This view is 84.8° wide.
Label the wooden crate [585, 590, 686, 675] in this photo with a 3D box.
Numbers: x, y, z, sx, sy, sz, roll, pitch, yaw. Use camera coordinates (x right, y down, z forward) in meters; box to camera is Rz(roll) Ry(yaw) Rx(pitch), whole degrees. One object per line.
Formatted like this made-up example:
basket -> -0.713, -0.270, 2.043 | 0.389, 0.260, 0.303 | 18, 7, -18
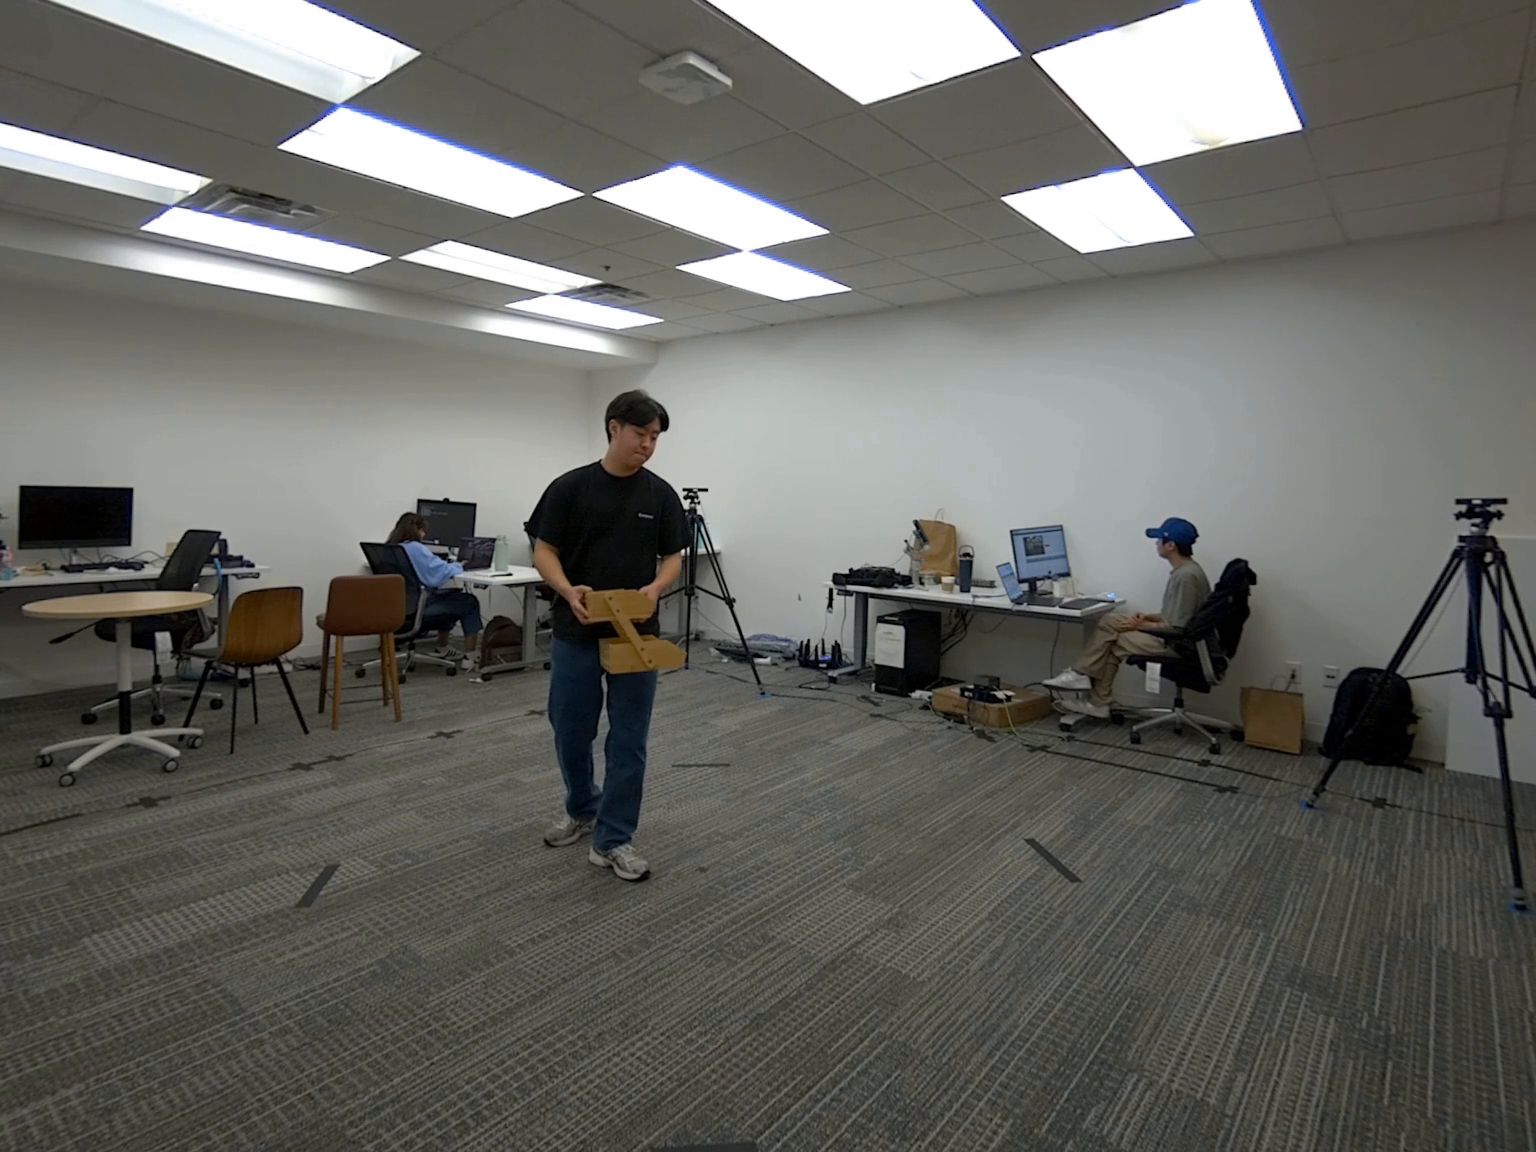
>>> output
wooden crate -> -0.468, 0.169, 2.860 | 0.298, 0.274, 0.328 | -4, -1, -15
